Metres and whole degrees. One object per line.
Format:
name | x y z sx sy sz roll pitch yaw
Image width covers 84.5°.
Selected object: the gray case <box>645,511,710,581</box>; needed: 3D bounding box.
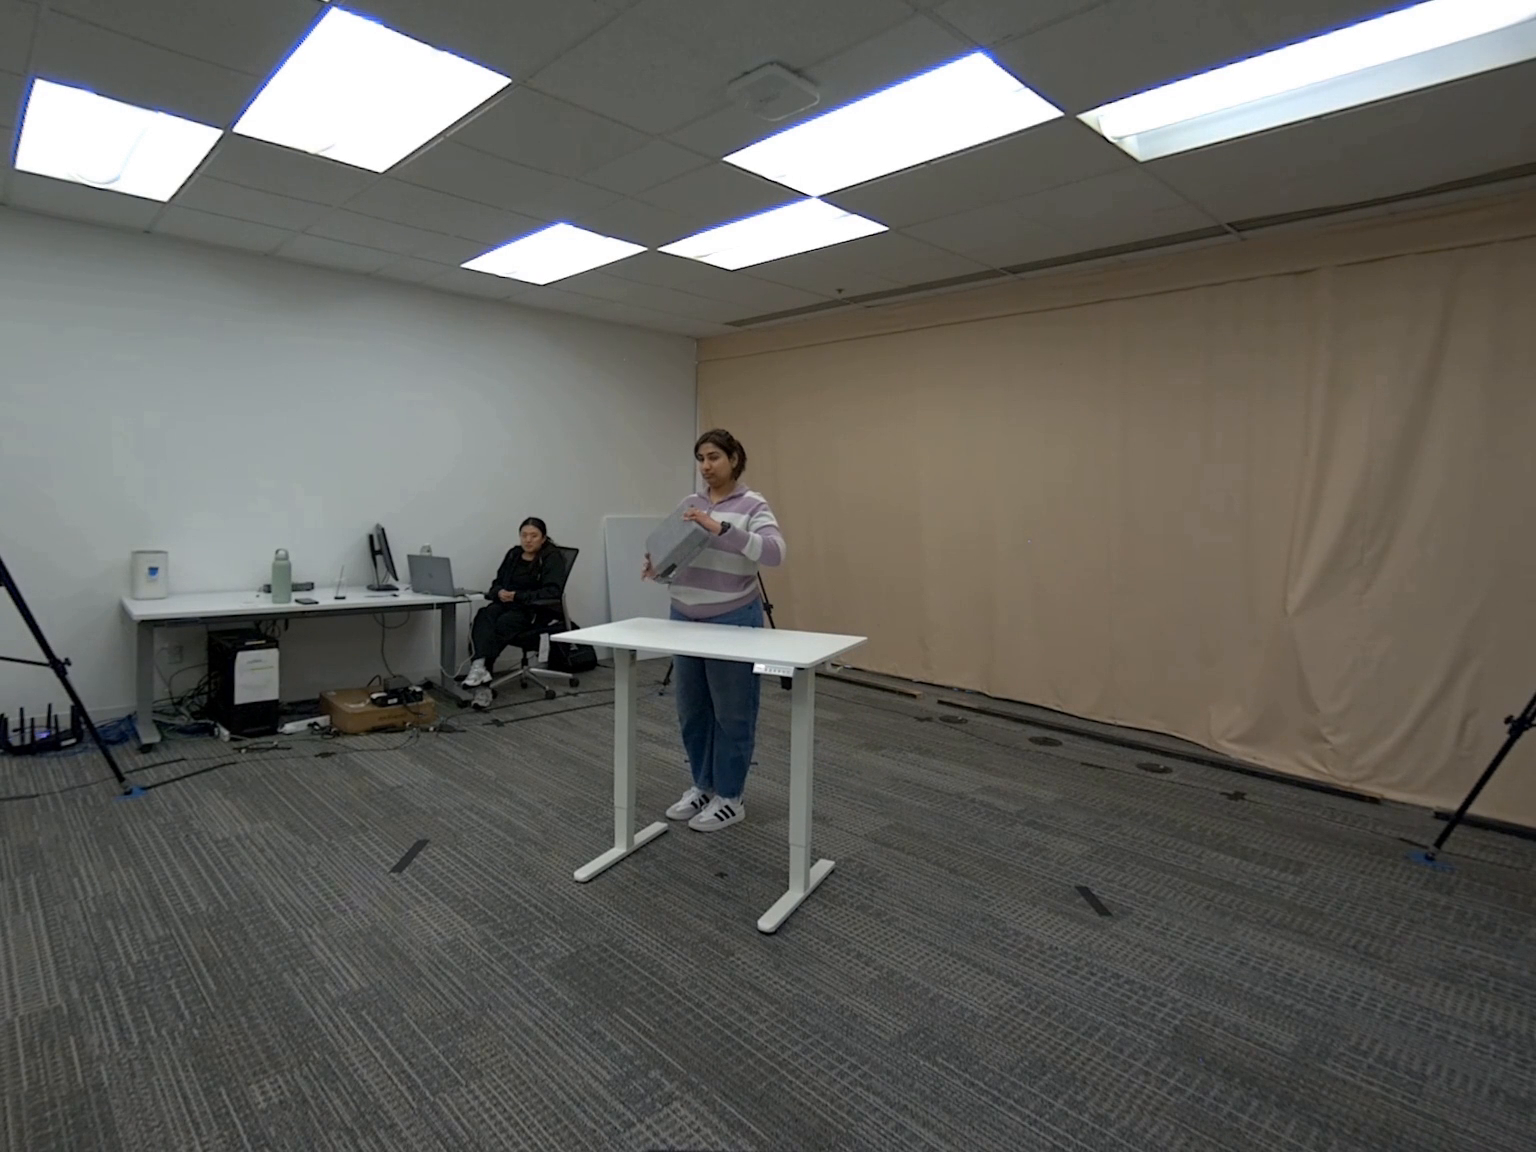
gray case | -0.370 -0.139 3.320 0.101 0.257 0.268 34 14 -31
